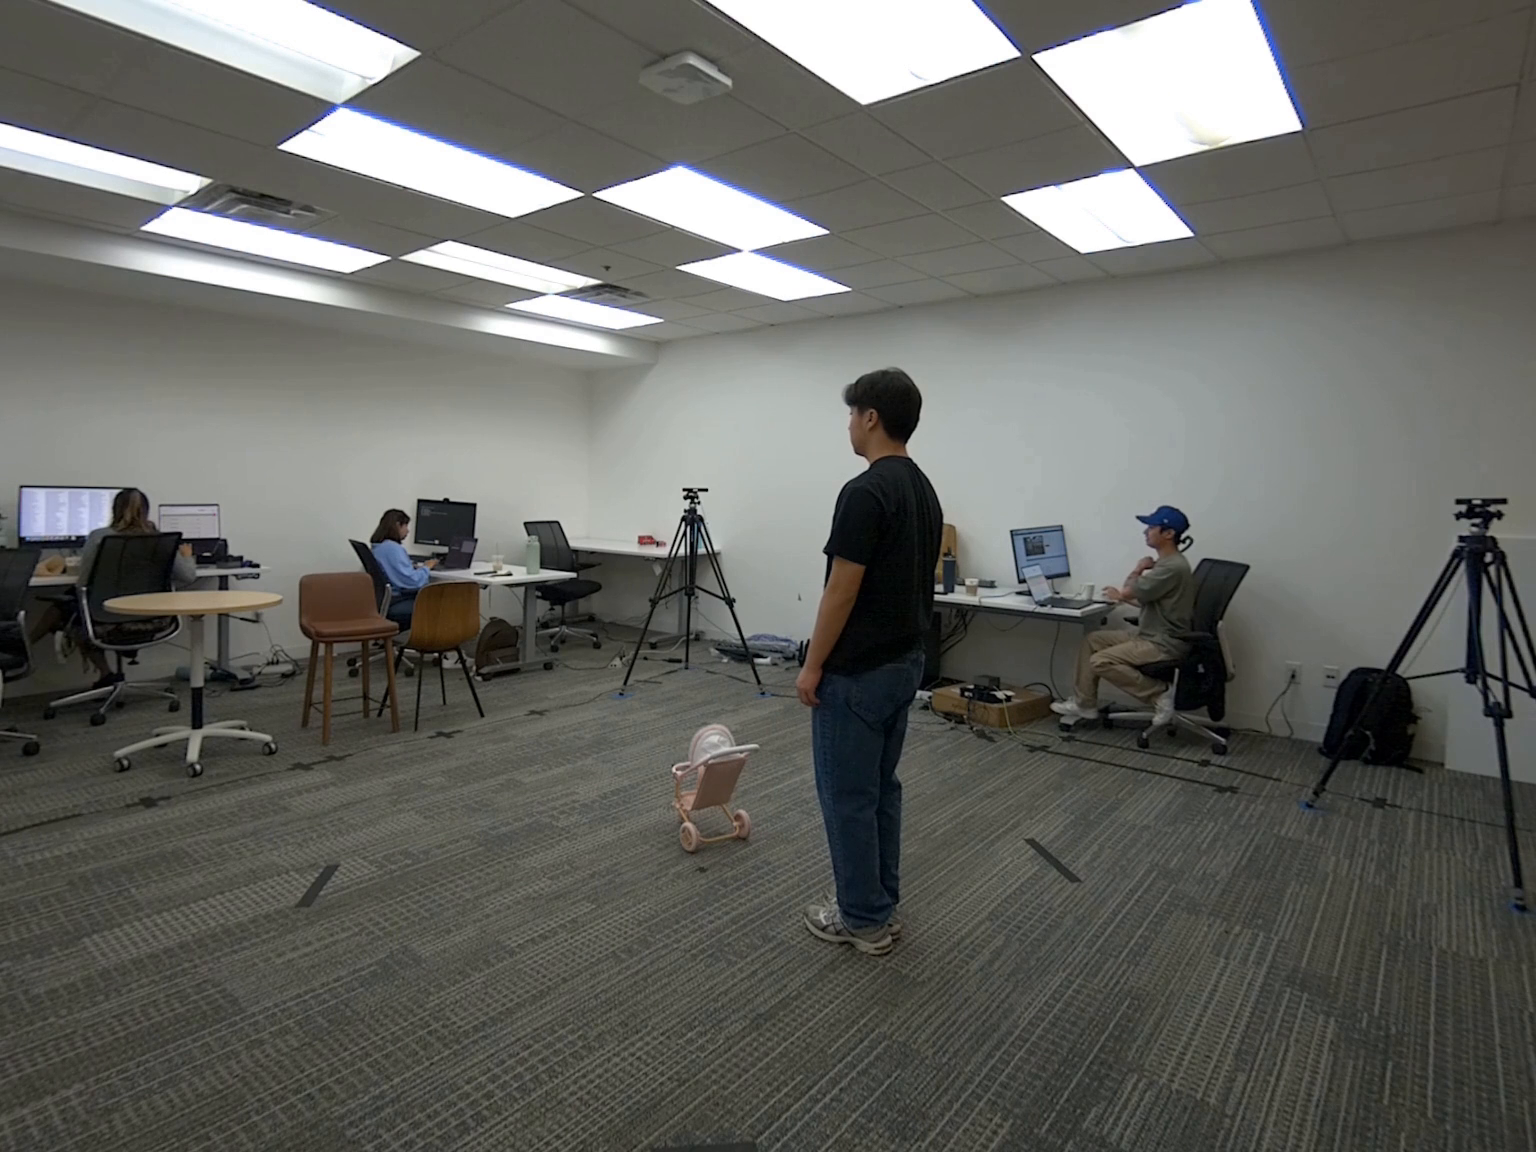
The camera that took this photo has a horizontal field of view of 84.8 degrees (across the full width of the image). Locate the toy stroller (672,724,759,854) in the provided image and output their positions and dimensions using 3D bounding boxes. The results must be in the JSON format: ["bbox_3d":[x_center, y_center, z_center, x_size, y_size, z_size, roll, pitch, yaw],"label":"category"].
[{"bbox_3d":[-0.245,0.820,3.381,0.274,0.528,0.355,-1,20,-30],"label":"toy stroller"}]
